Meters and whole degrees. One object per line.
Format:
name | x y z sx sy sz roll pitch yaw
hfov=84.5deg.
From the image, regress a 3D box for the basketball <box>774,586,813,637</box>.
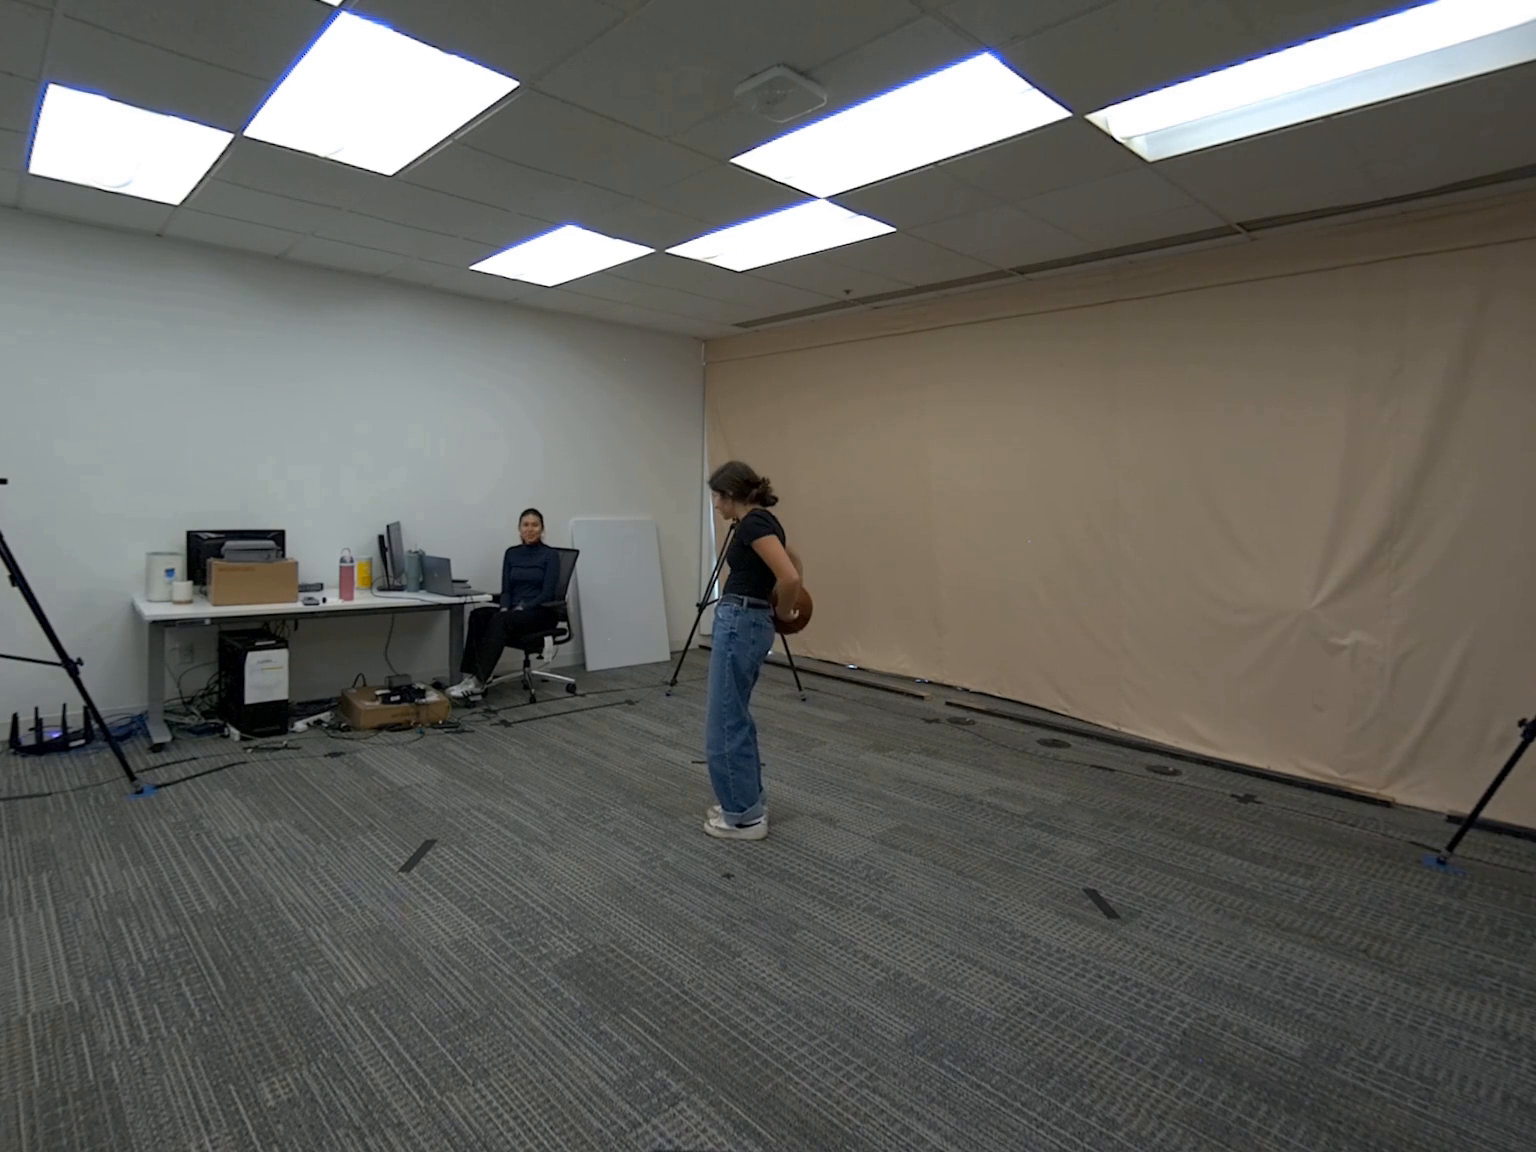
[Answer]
basketball | 0.075 0.141 3.719 0.236 0.235 0.237 1 4 -1
